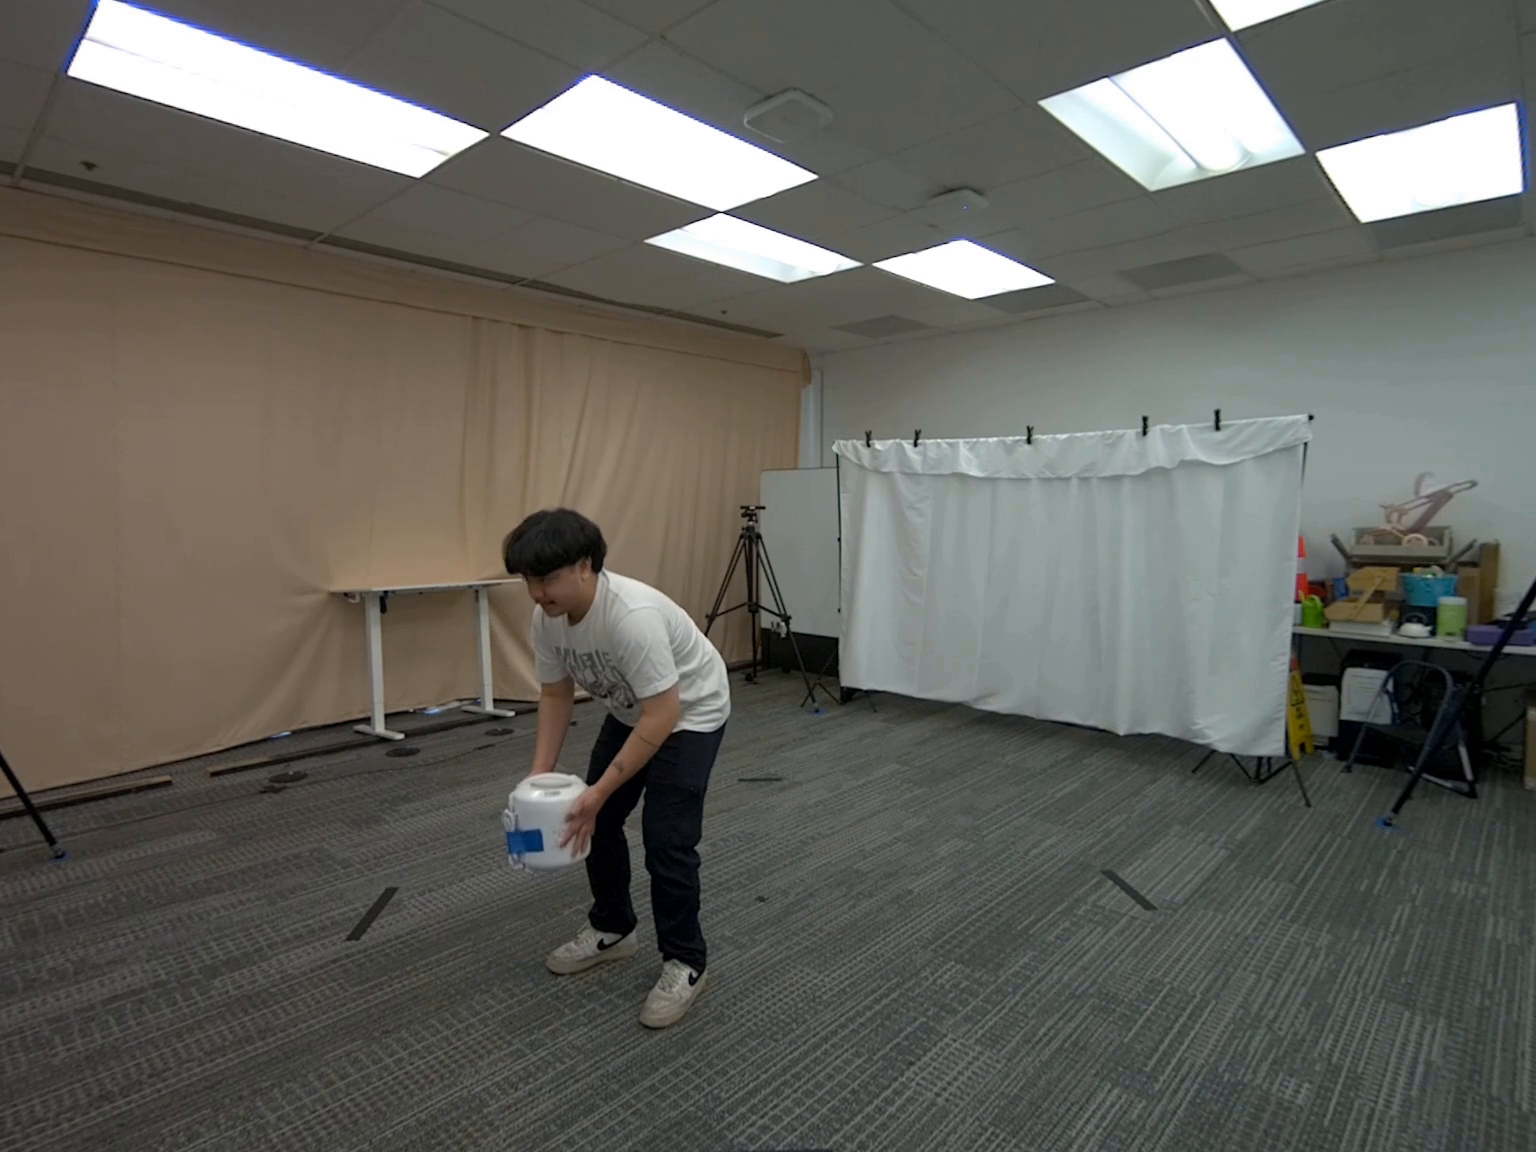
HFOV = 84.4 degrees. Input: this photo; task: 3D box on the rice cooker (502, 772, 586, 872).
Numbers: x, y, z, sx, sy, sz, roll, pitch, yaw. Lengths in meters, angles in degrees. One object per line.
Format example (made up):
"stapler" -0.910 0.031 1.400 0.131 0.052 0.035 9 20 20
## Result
"rice cooker" -0.586 0.640 2.237 0.221 0.232 0.217 1 1 0
